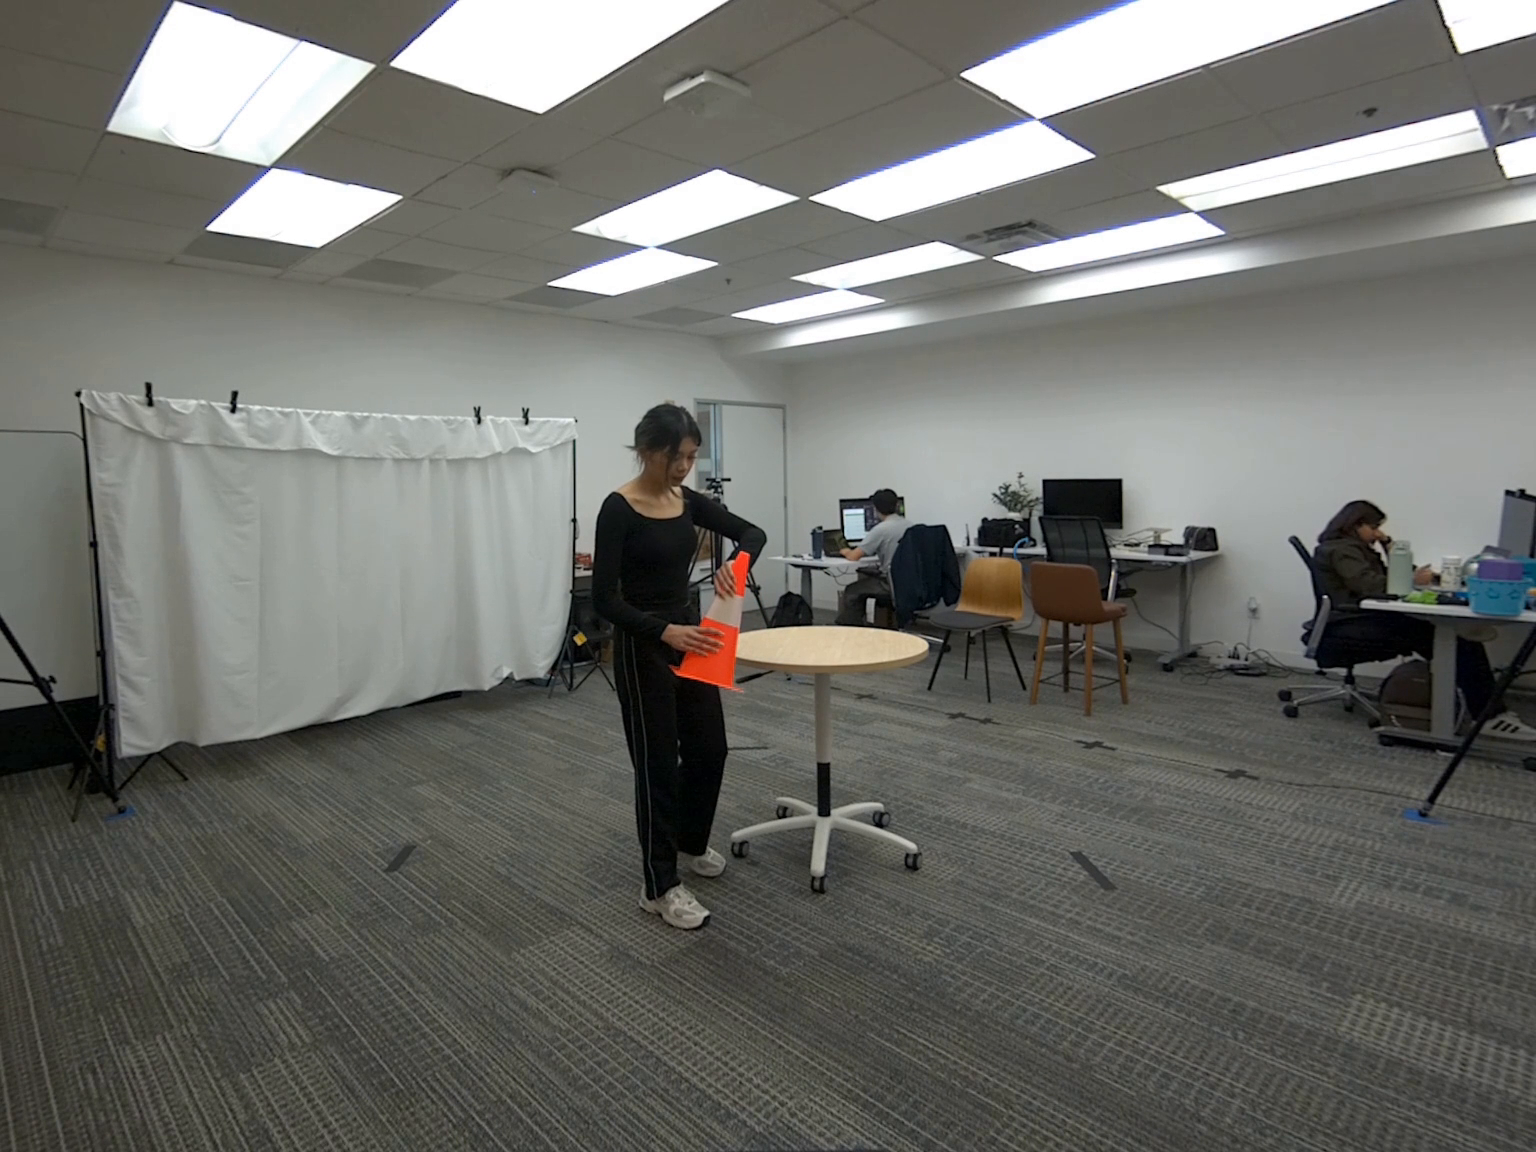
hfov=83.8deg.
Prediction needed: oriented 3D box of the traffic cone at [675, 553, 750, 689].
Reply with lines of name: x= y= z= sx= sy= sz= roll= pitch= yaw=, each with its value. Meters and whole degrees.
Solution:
traffic cone: x=-0.119 y=0.119 z=2.457 sx=0.201 sy=0.385 sz=0.206 roll=17 pitch=-6 yaw=-9
